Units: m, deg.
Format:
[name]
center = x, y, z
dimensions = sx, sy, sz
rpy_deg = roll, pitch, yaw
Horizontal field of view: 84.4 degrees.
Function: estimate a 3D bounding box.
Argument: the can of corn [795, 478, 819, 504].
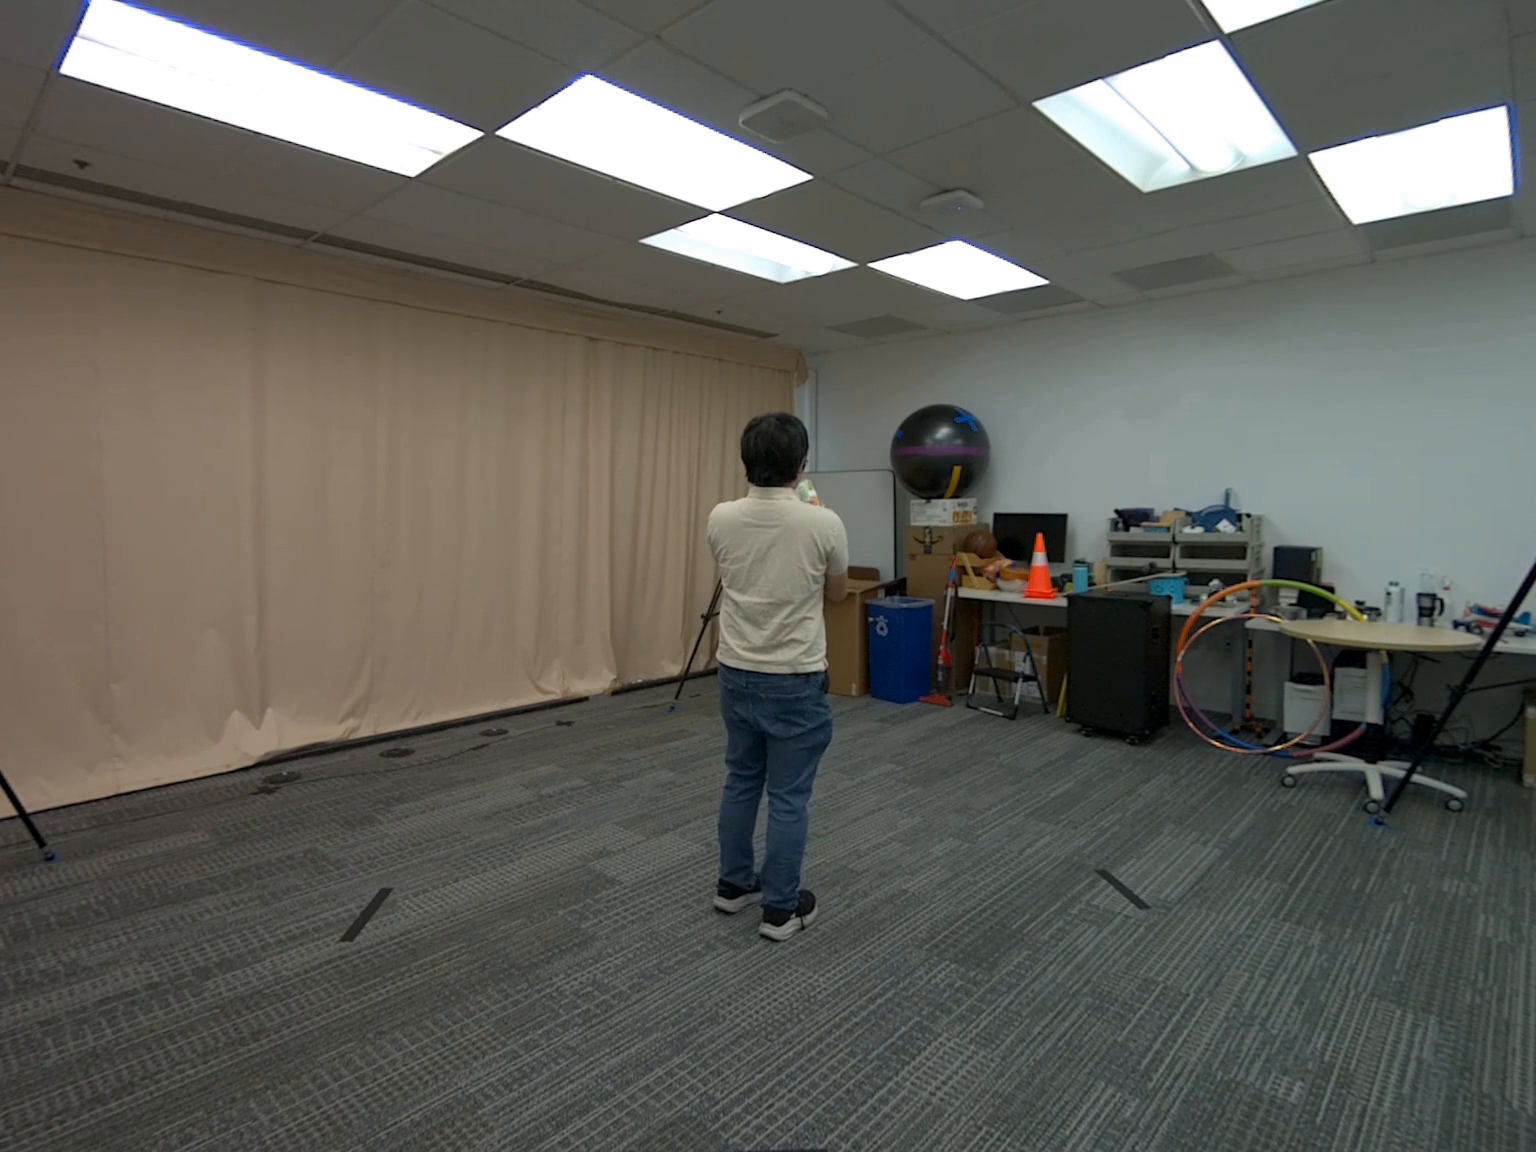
[can of corn]
center = 0.145, -0.283, 3.022
dimensions = 0.074, 0.112, 0.073
rpy_deg = -16, -13, -6
